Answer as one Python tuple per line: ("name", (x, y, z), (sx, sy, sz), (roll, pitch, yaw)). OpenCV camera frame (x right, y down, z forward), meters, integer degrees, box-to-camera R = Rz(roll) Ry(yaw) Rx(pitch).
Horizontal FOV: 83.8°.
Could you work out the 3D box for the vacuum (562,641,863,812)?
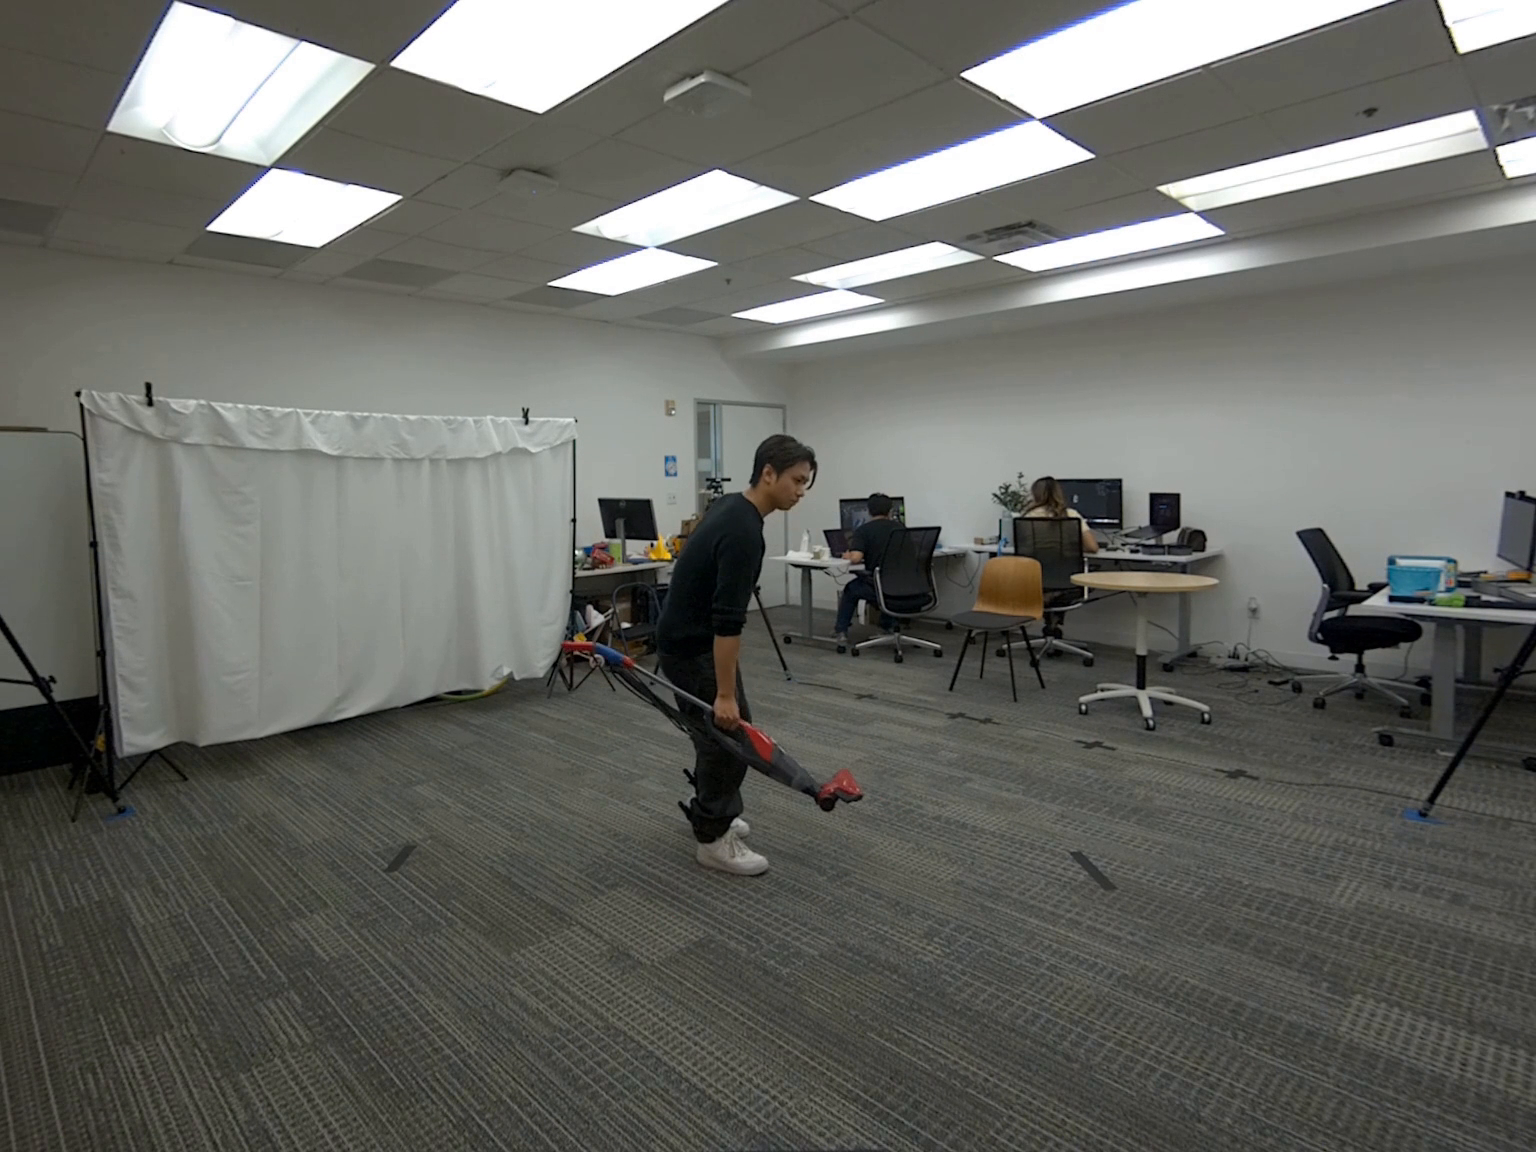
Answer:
("vacuum", (-0.210, 0.479, 2.847), (1.043, 0.144, 0.254), (31, 3, -4))
